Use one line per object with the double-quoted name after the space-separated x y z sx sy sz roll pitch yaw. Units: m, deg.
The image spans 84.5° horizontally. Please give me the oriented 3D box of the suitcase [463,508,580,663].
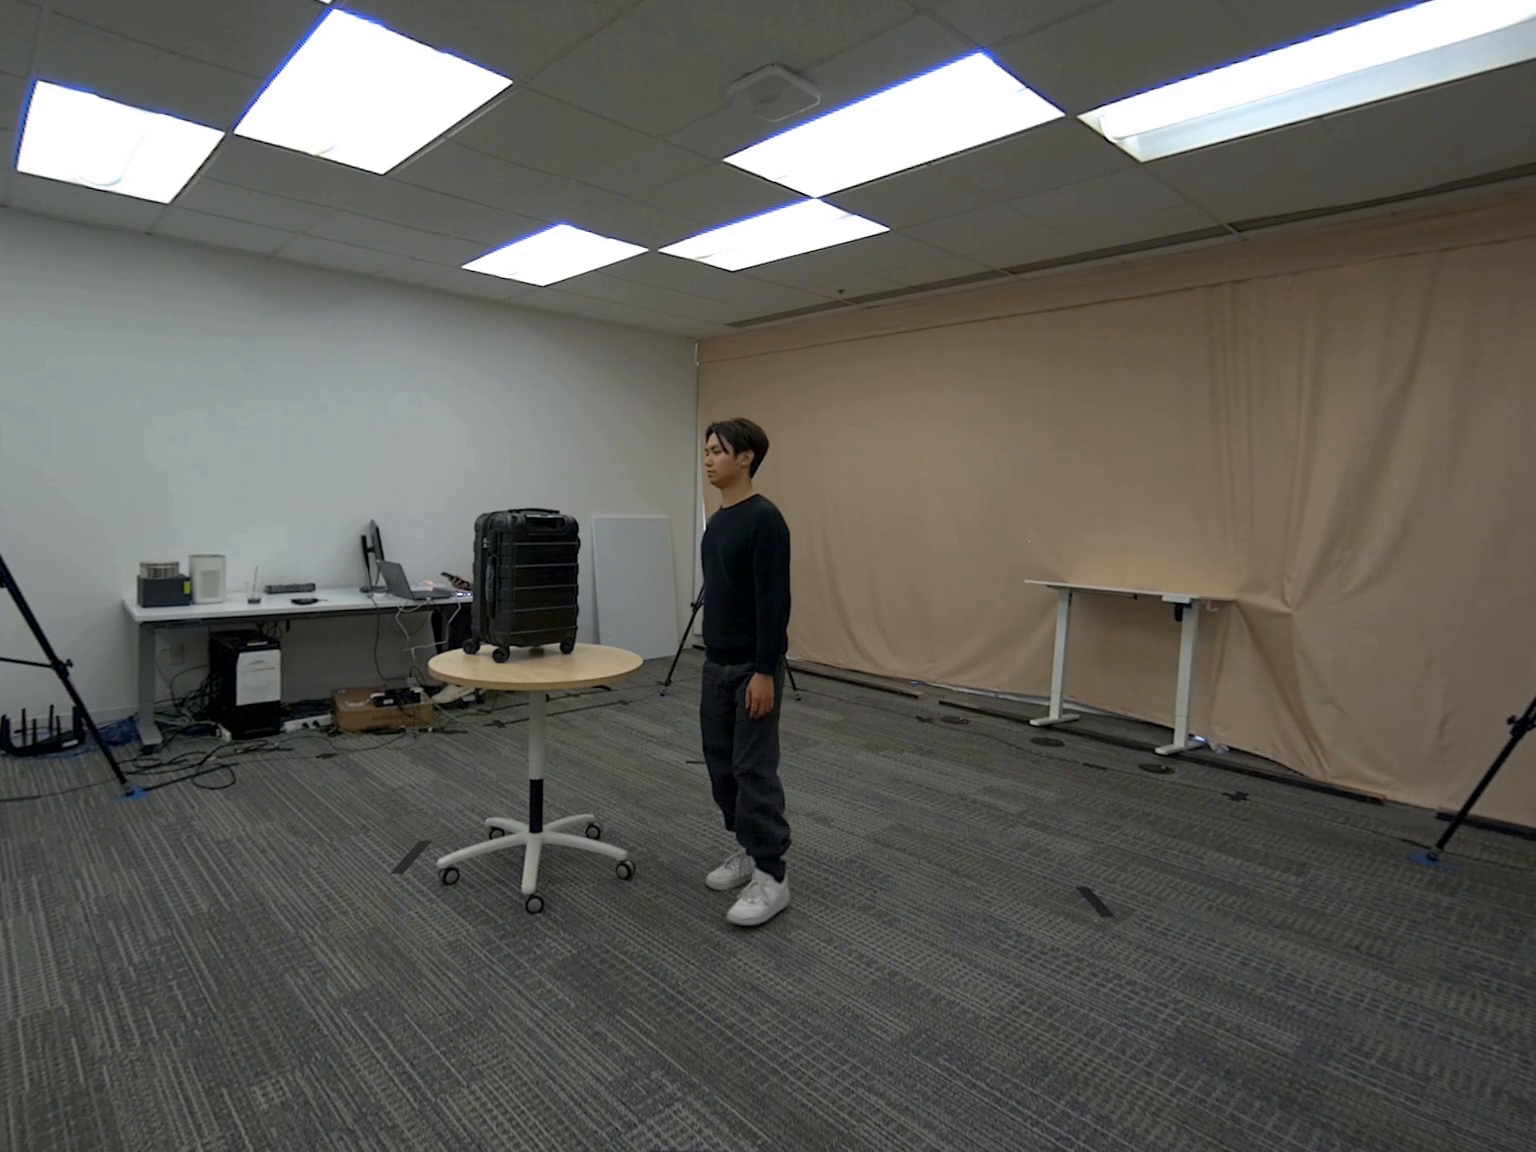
-0.925 0.021 3.190 0.255 0.548 0.367 6 5 42 "suitcase"
